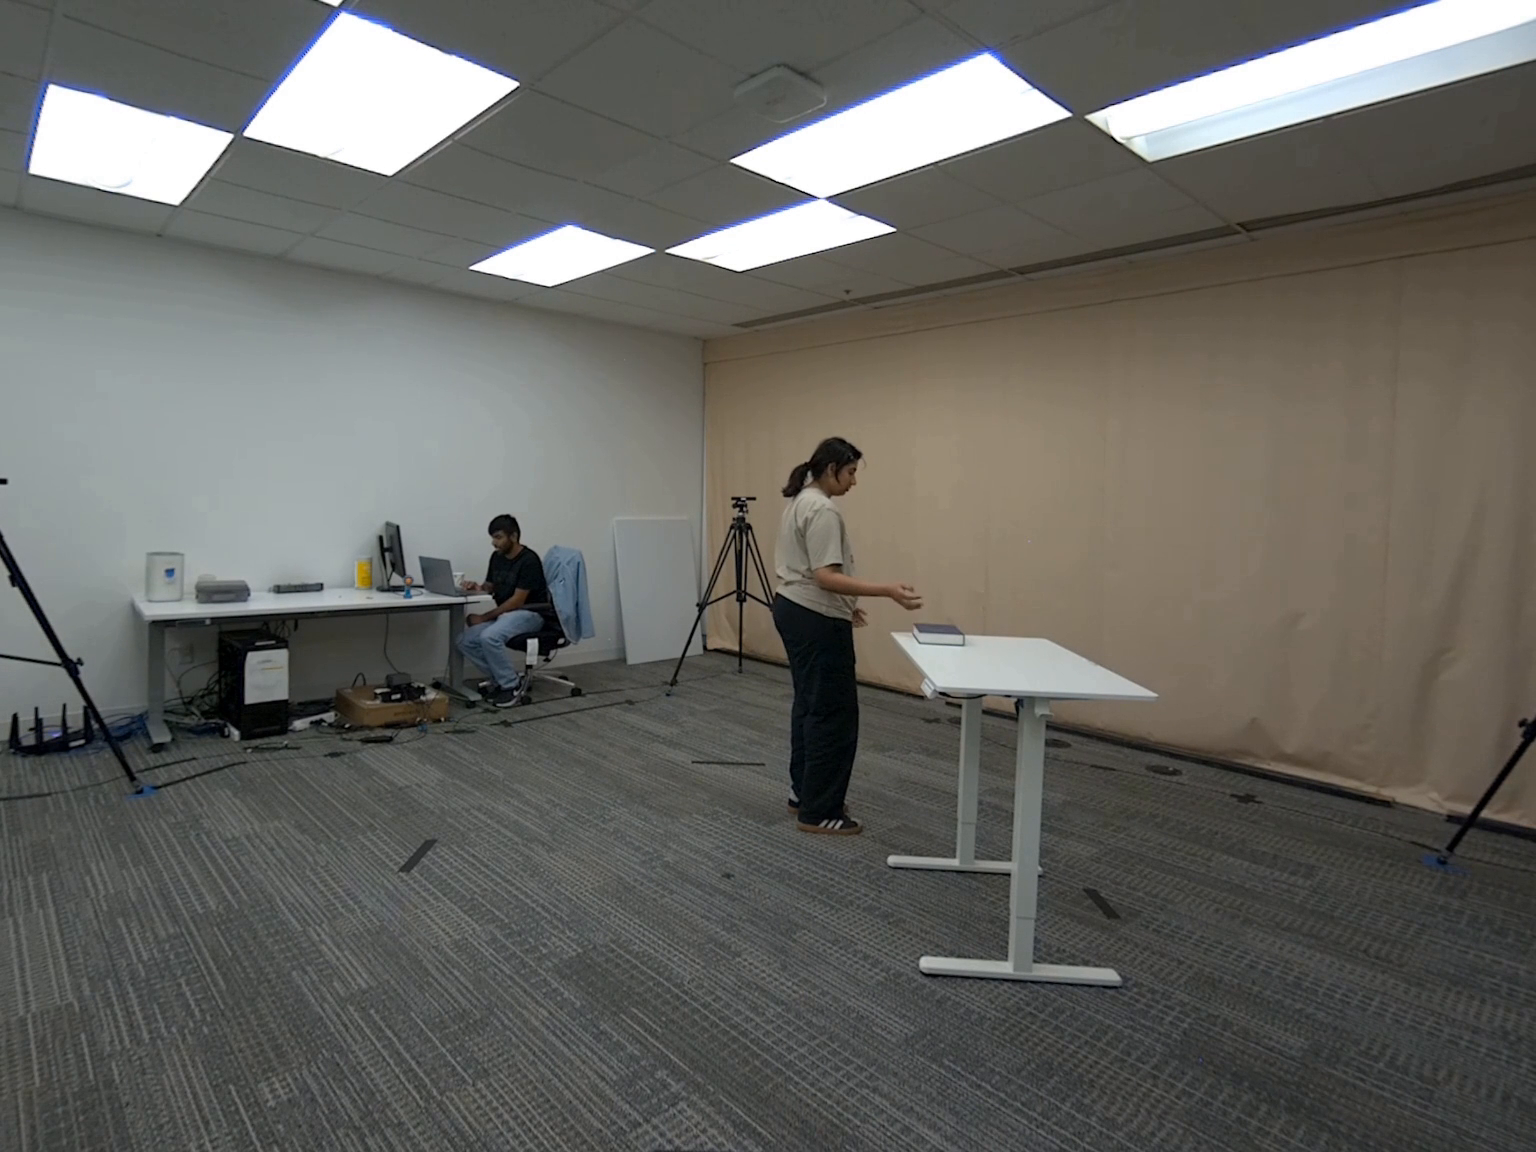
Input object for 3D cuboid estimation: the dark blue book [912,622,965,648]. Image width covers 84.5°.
[{"bbox_3d":[0.632,0.217,3.168,0.164,0.045,0.244,4,4,6],"label":"dark blue book"}]
